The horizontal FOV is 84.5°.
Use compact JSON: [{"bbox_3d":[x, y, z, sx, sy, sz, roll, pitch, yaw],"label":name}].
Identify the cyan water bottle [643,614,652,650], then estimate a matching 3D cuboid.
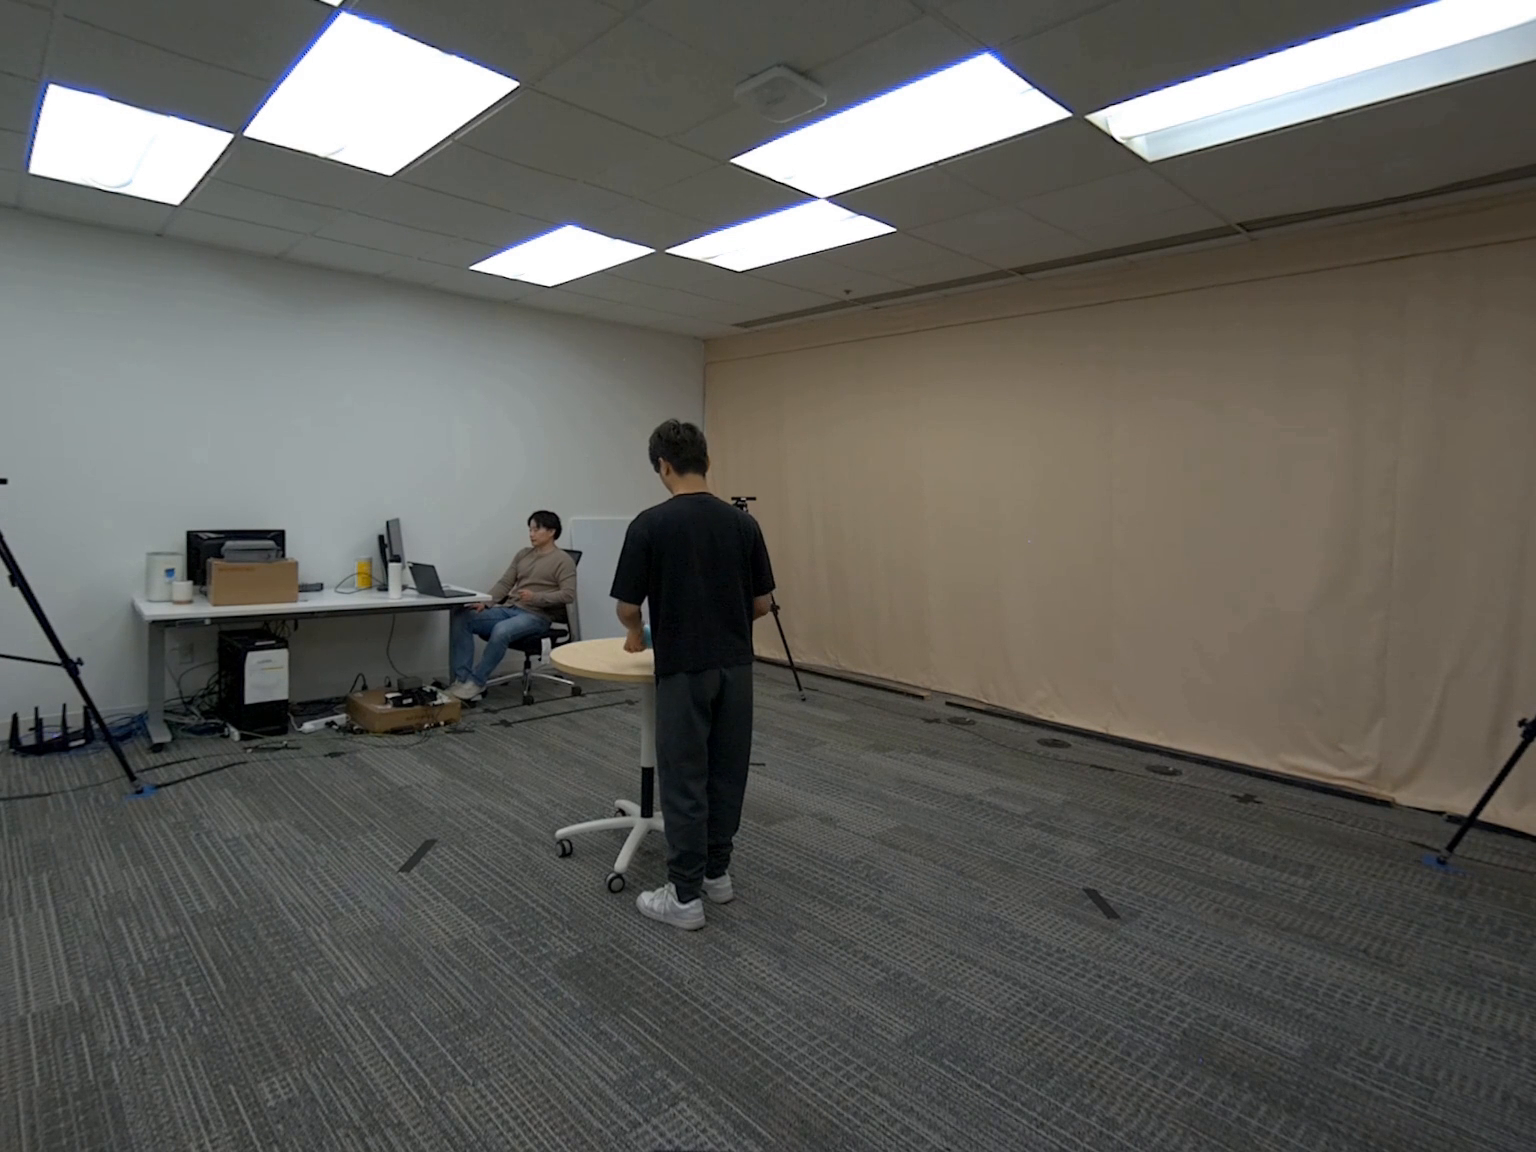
[{"bbox_3d":[-0.355,0.227,3.096,0.278,0.092,0.094,-1,5,-27],"label":"cyan water bottle"}]
